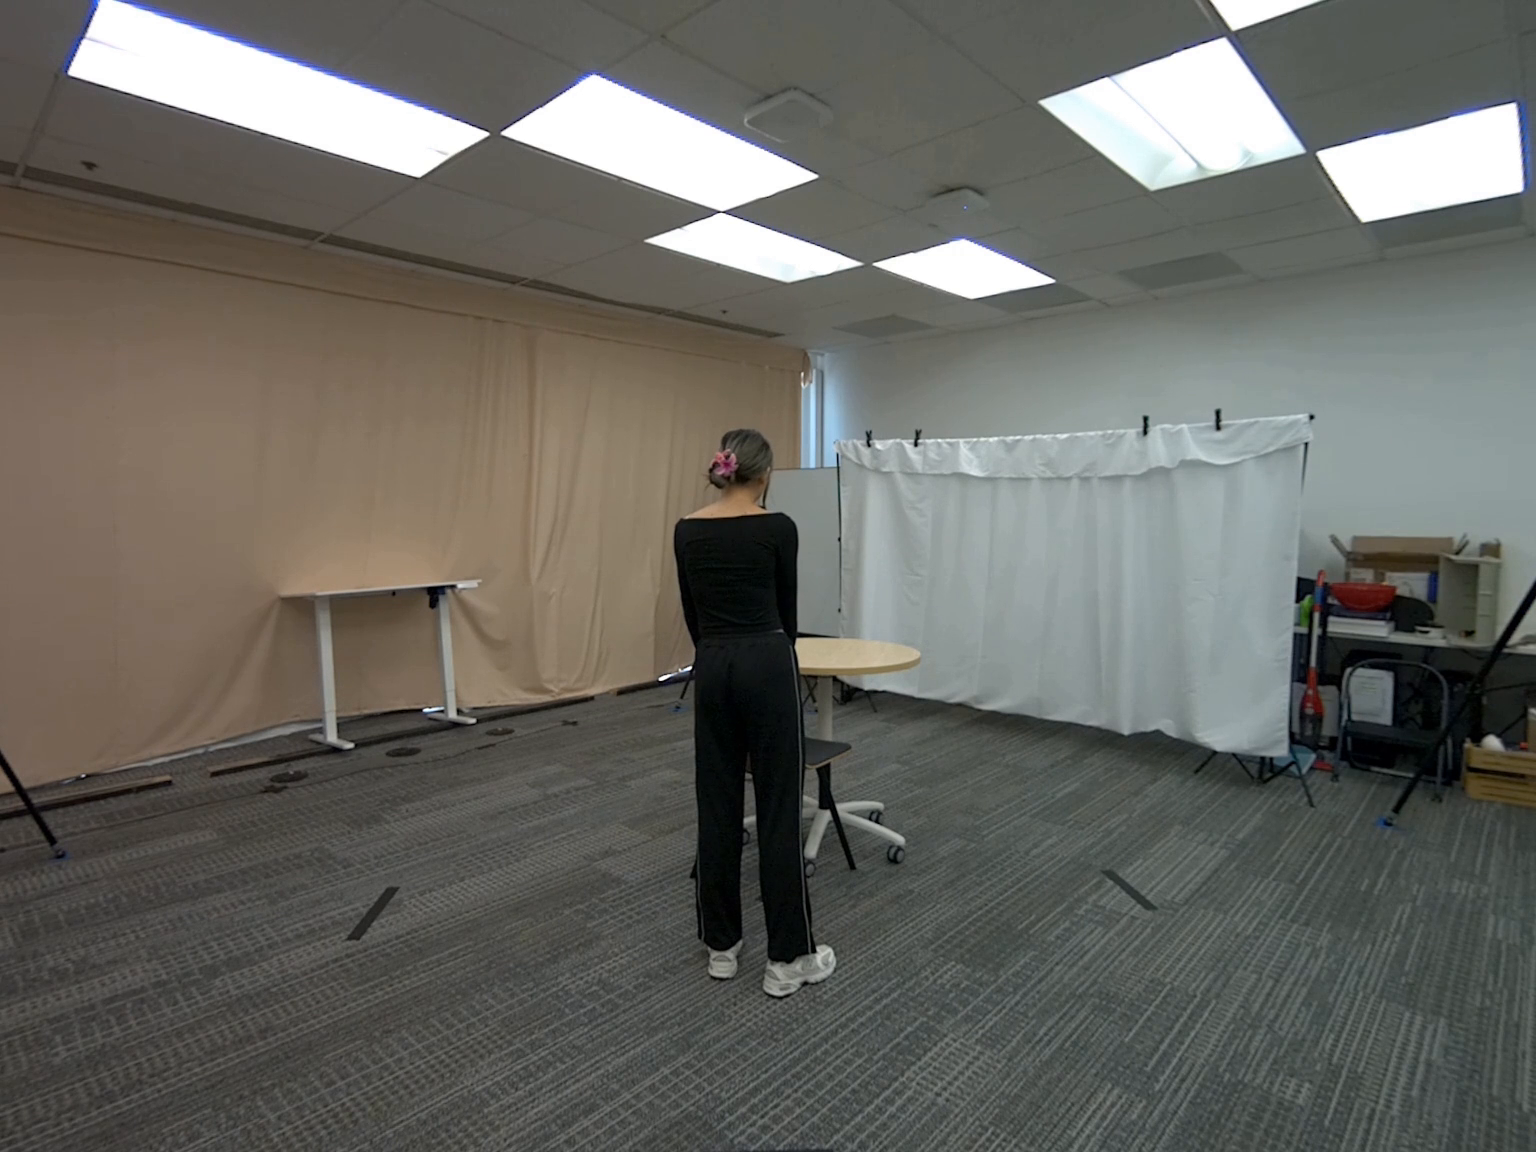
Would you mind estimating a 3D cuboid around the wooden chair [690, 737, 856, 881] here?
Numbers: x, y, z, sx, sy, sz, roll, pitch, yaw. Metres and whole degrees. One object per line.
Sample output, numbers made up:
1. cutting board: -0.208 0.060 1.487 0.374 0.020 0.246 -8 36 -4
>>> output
1. wooden chair: 0.021 0.698 3.158 0.493 0.873 0.509 1 8 38
